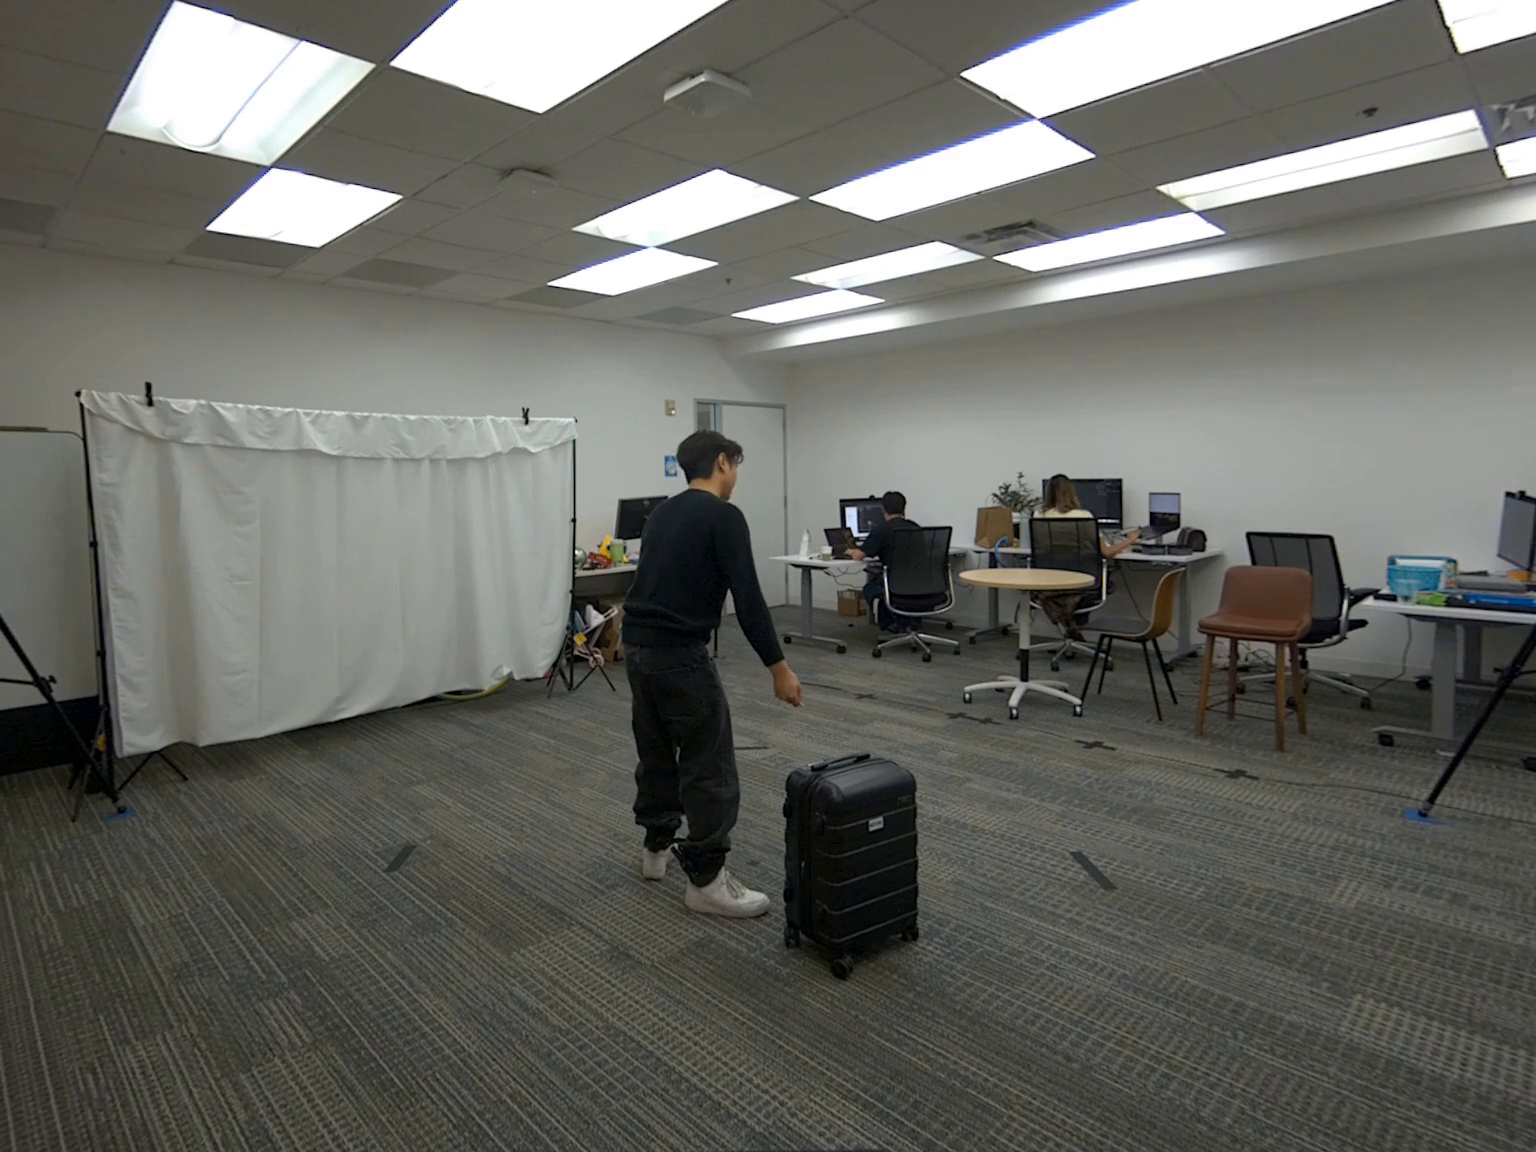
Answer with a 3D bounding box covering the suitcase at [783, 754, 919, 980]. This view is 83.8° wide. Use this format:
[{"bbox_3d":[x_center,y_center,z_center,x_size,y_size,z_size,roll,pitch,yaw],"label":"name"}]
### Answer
[{"bbox_3d":[0.259,0.824,2.542,0.366,0.547,0.255,-4,5,-32],"label":"suitcase"}]
